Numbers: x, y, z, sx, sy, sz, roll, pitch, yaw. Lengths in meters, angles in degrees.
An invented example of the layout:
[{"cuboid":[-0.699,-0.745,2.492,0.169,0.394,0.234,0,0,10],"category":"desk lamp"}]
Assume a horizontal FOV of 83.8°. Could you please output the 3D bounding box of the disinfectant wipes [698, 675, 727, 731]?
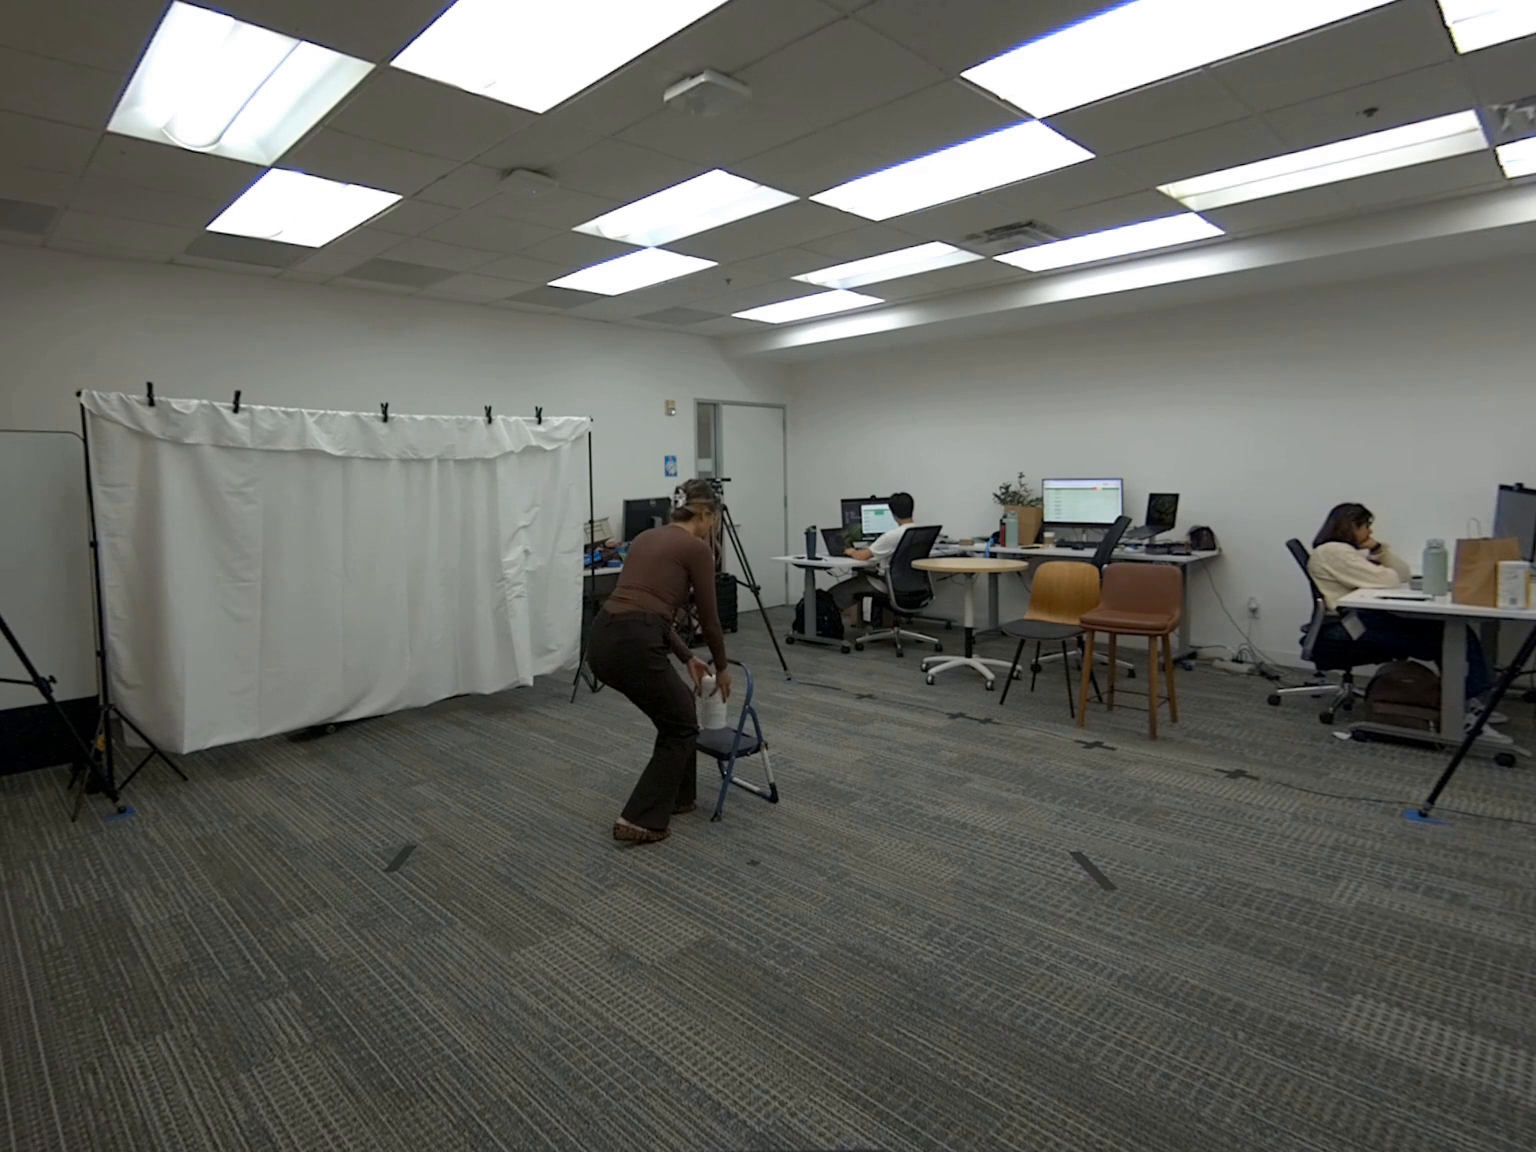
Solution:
[{"cuboid":[-0.227,0.544,3.691,0.118,0.216,0.118,-3,5,-1],"category":"disinfectant wipes"}]
